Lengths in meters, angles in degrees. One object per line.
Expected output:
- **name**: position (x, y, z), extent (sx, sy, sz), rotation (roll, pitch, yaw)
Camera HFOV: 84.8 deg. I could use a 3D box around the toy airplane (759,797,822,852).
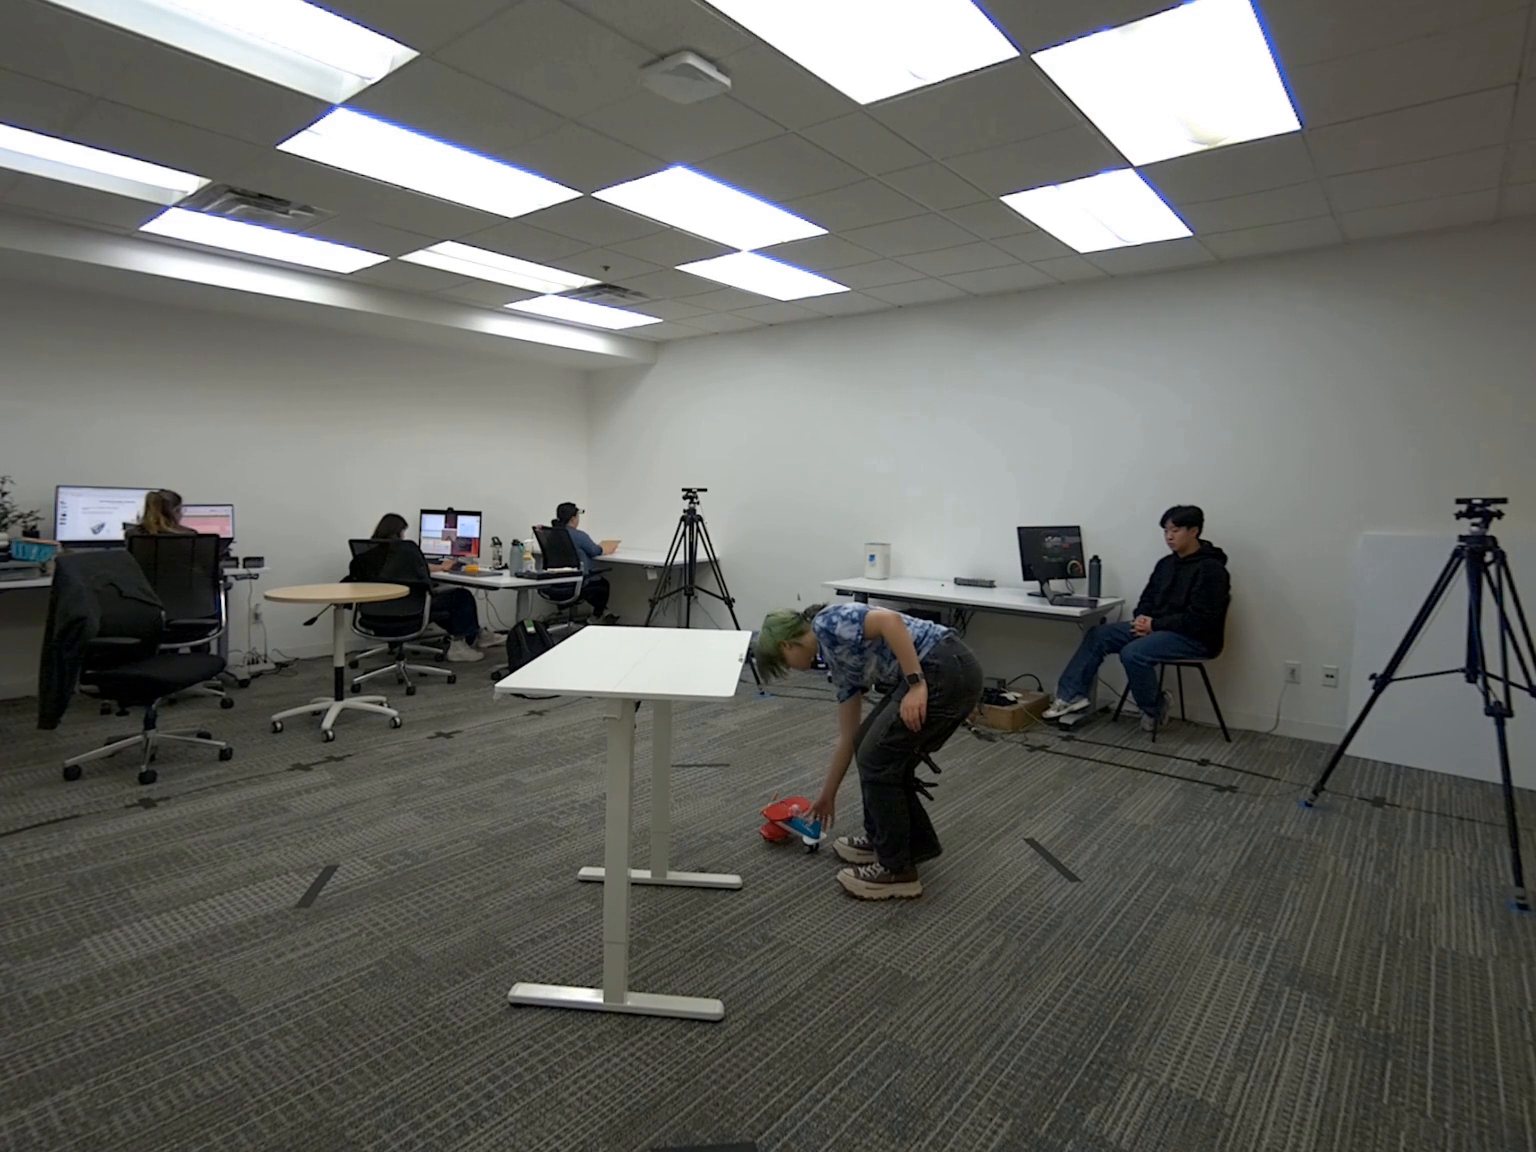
- **toy airplane**: position (0.102, 0.976, 3.358), extent (0.263, 0.156, 0.248), rotation (0, 4, 13)
